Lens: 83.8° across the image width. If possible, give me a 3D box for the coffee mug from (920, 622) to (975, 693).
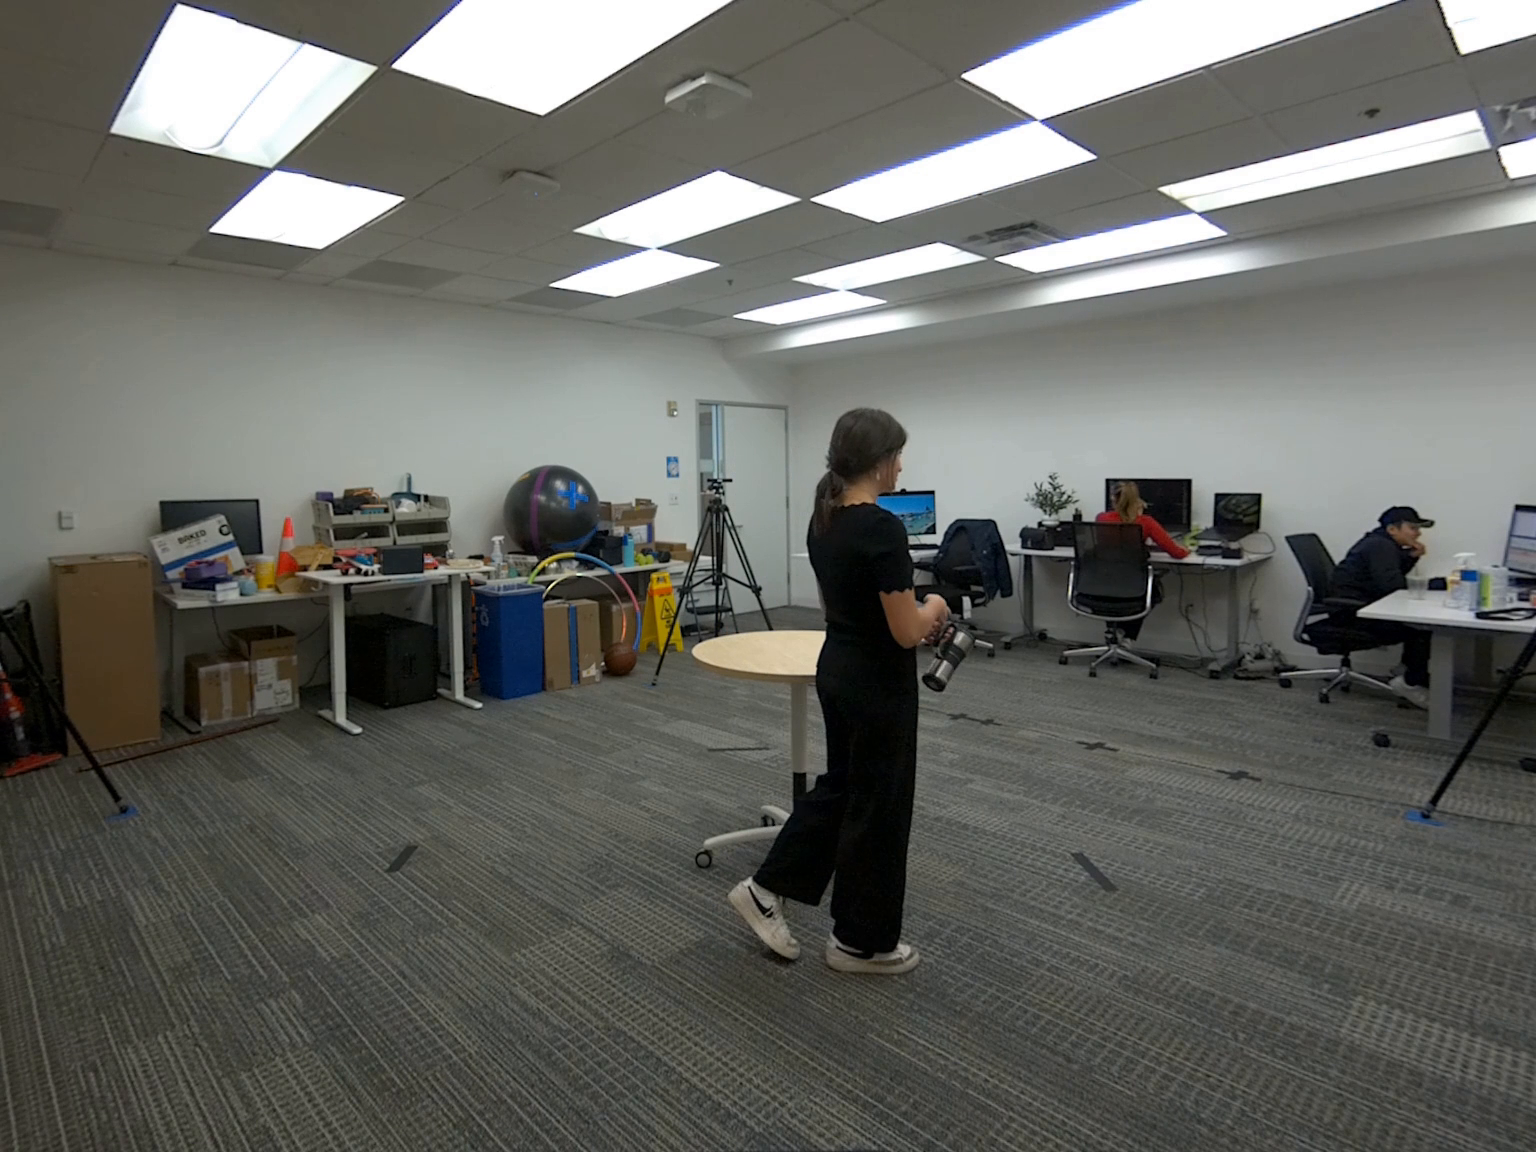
[{"bbox_3d":[0.517,0.252,2.536,0.126,0.203,0.085,25,-26,35],"label":"coffee mug"}]
